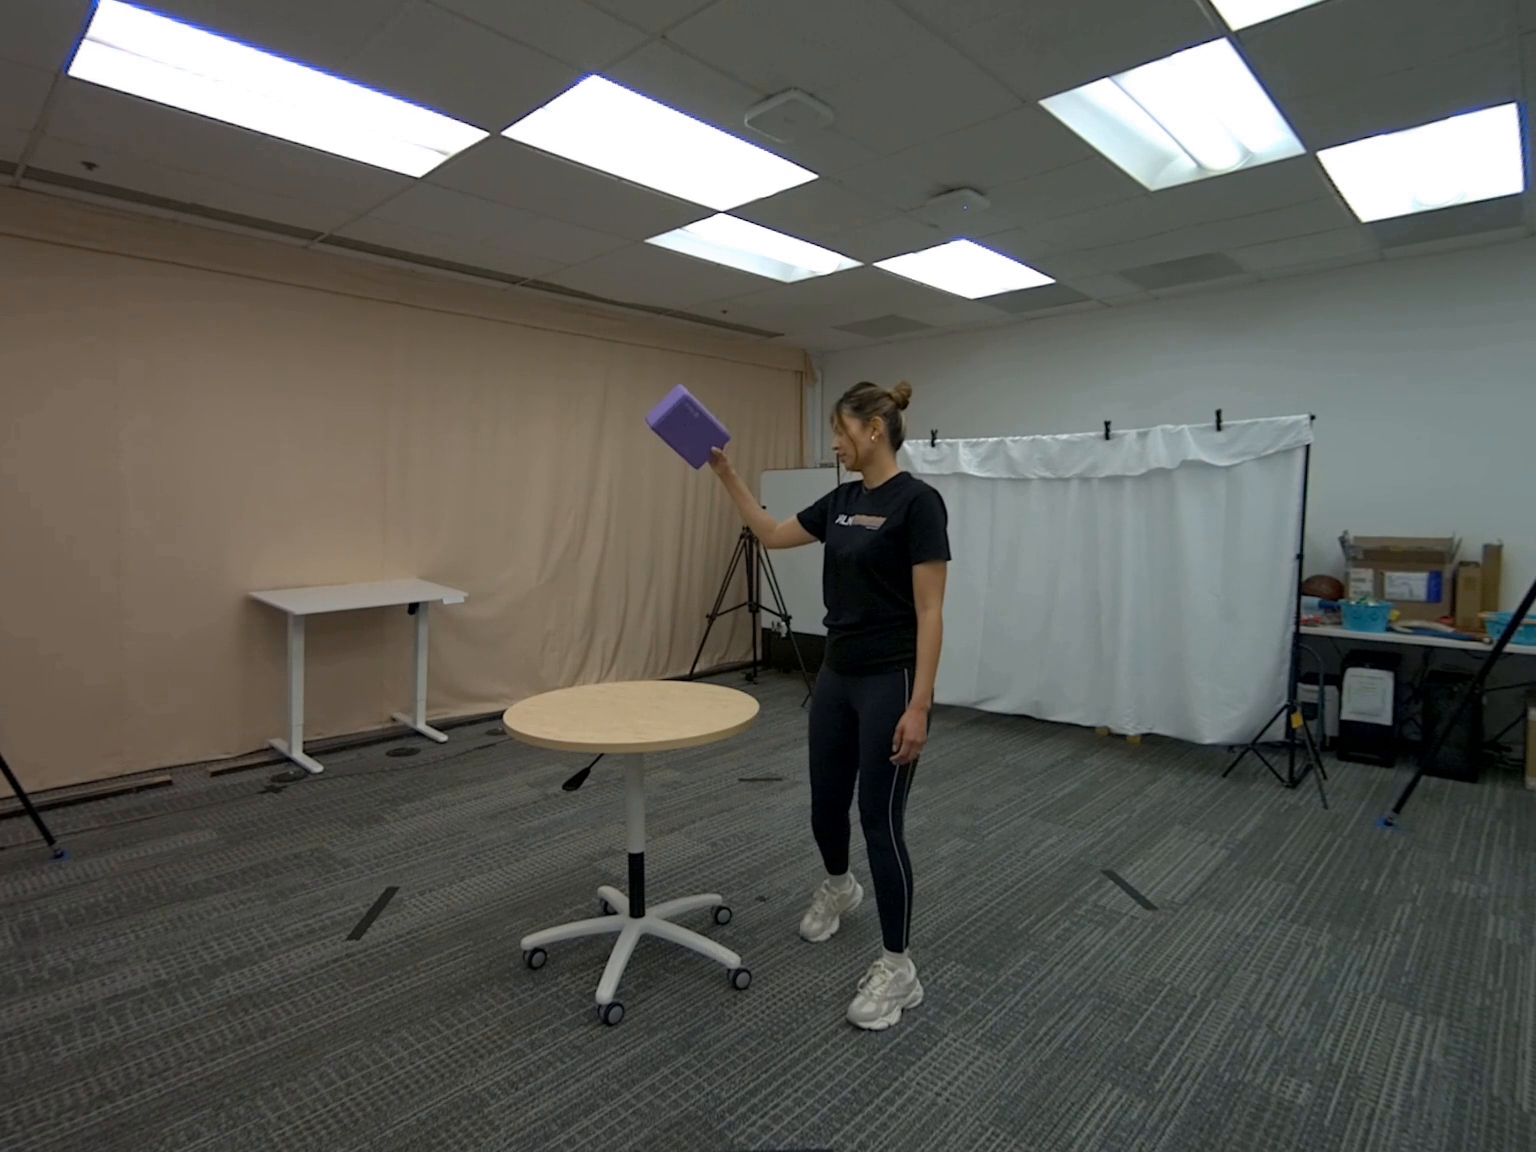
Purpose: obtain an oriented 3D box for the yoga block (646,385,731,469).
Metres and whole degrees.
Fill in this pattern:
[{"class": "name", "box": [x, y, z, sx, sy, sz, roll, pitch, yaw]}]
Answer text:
[{"class": "yoga block", "box": [-0.236, -0.438, 2.488, 0.221, 0.149, 0.079, 41, 12, -39]}]
